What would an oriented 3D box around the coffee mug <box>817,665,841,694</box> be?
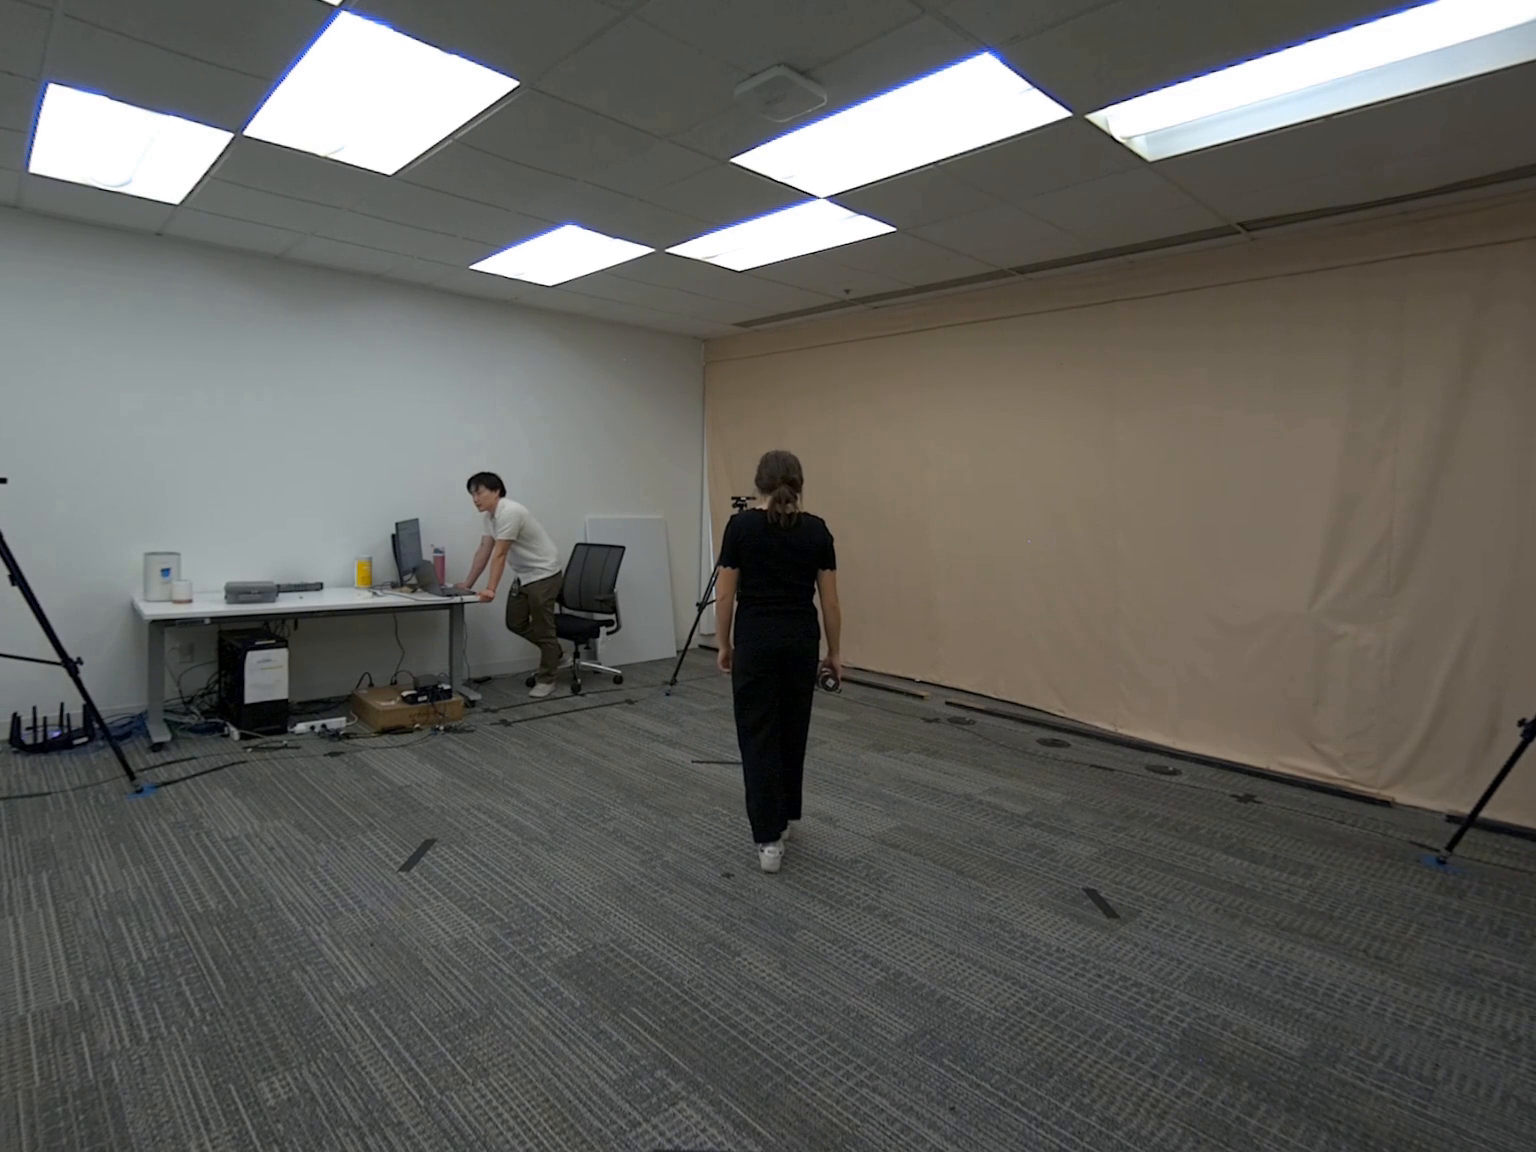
[{"bbox_3d":[0.249,0.423,3.397,0.121,0.088,0.204,15,-5,-10],"label":"coffee mug"}]
